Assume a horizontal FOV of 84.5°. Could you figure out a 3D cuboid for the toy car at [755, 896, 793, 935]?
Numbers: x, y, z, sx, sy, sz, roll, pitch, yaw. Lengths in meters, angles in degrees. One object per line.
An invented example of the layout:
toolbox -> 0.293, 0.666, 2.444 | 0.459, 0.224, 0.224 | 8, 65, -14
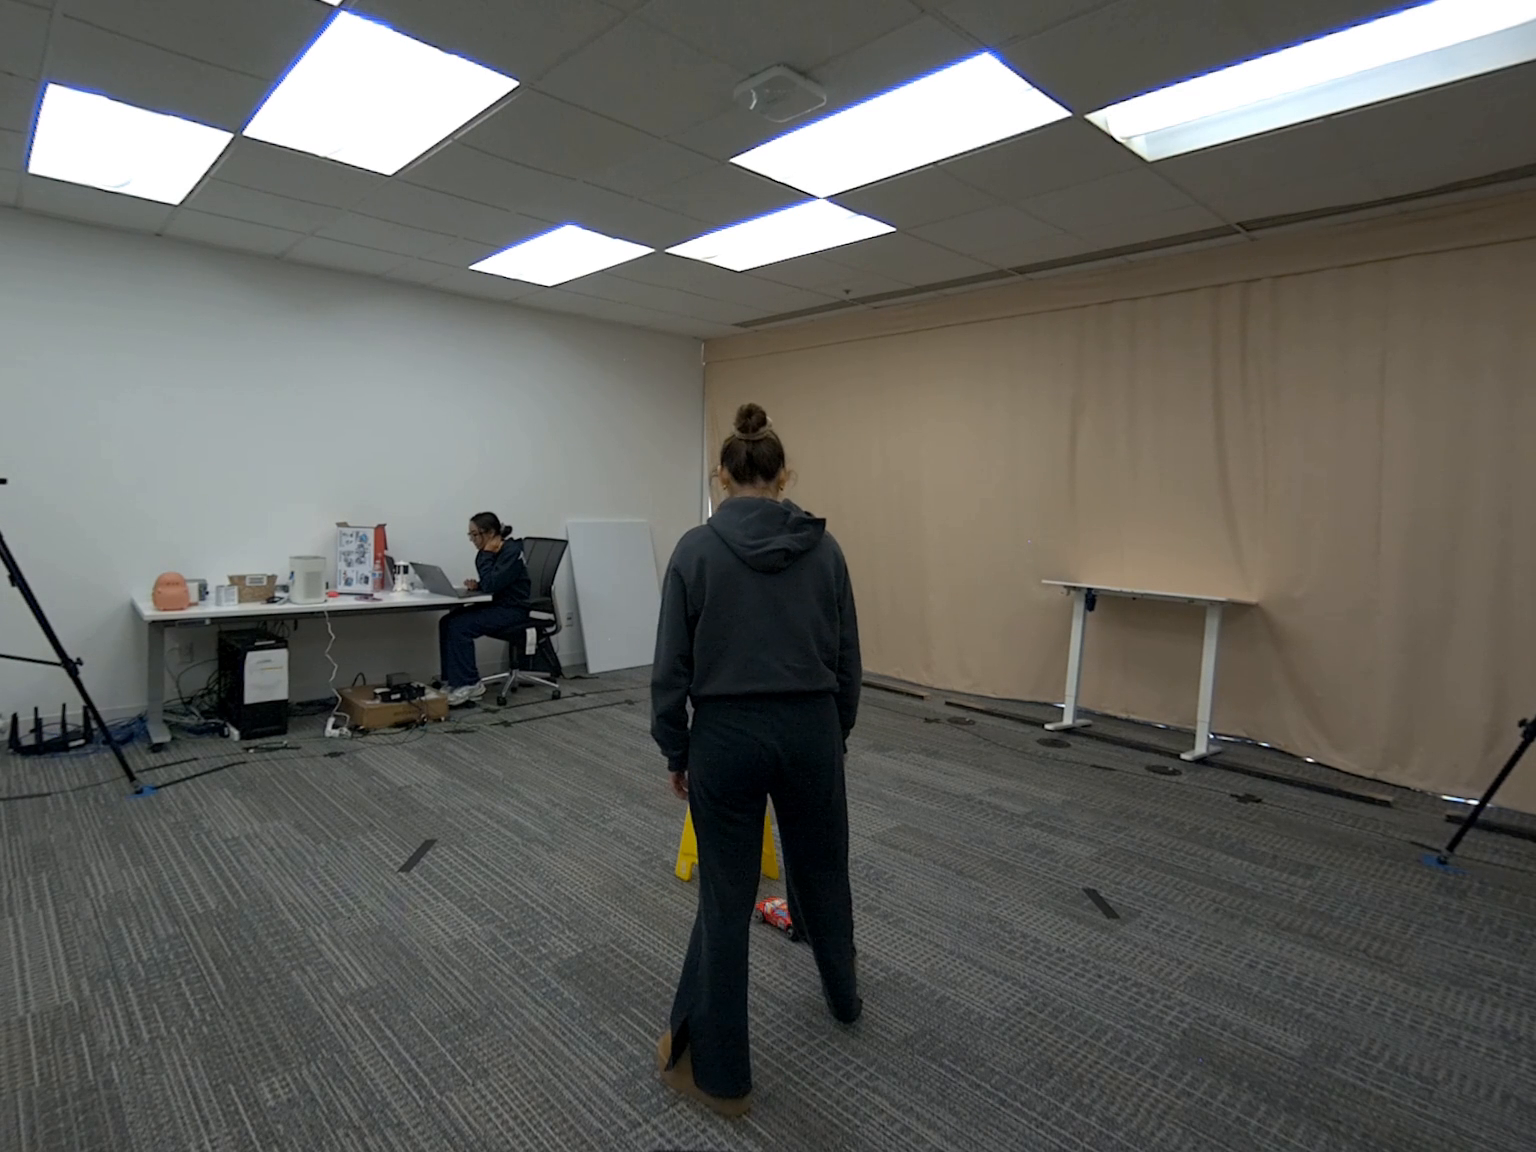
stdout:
toy car -> 0.073, 1.115, 2.747 | 0.127, 0.083, 0.260 | -3, -3, -44
